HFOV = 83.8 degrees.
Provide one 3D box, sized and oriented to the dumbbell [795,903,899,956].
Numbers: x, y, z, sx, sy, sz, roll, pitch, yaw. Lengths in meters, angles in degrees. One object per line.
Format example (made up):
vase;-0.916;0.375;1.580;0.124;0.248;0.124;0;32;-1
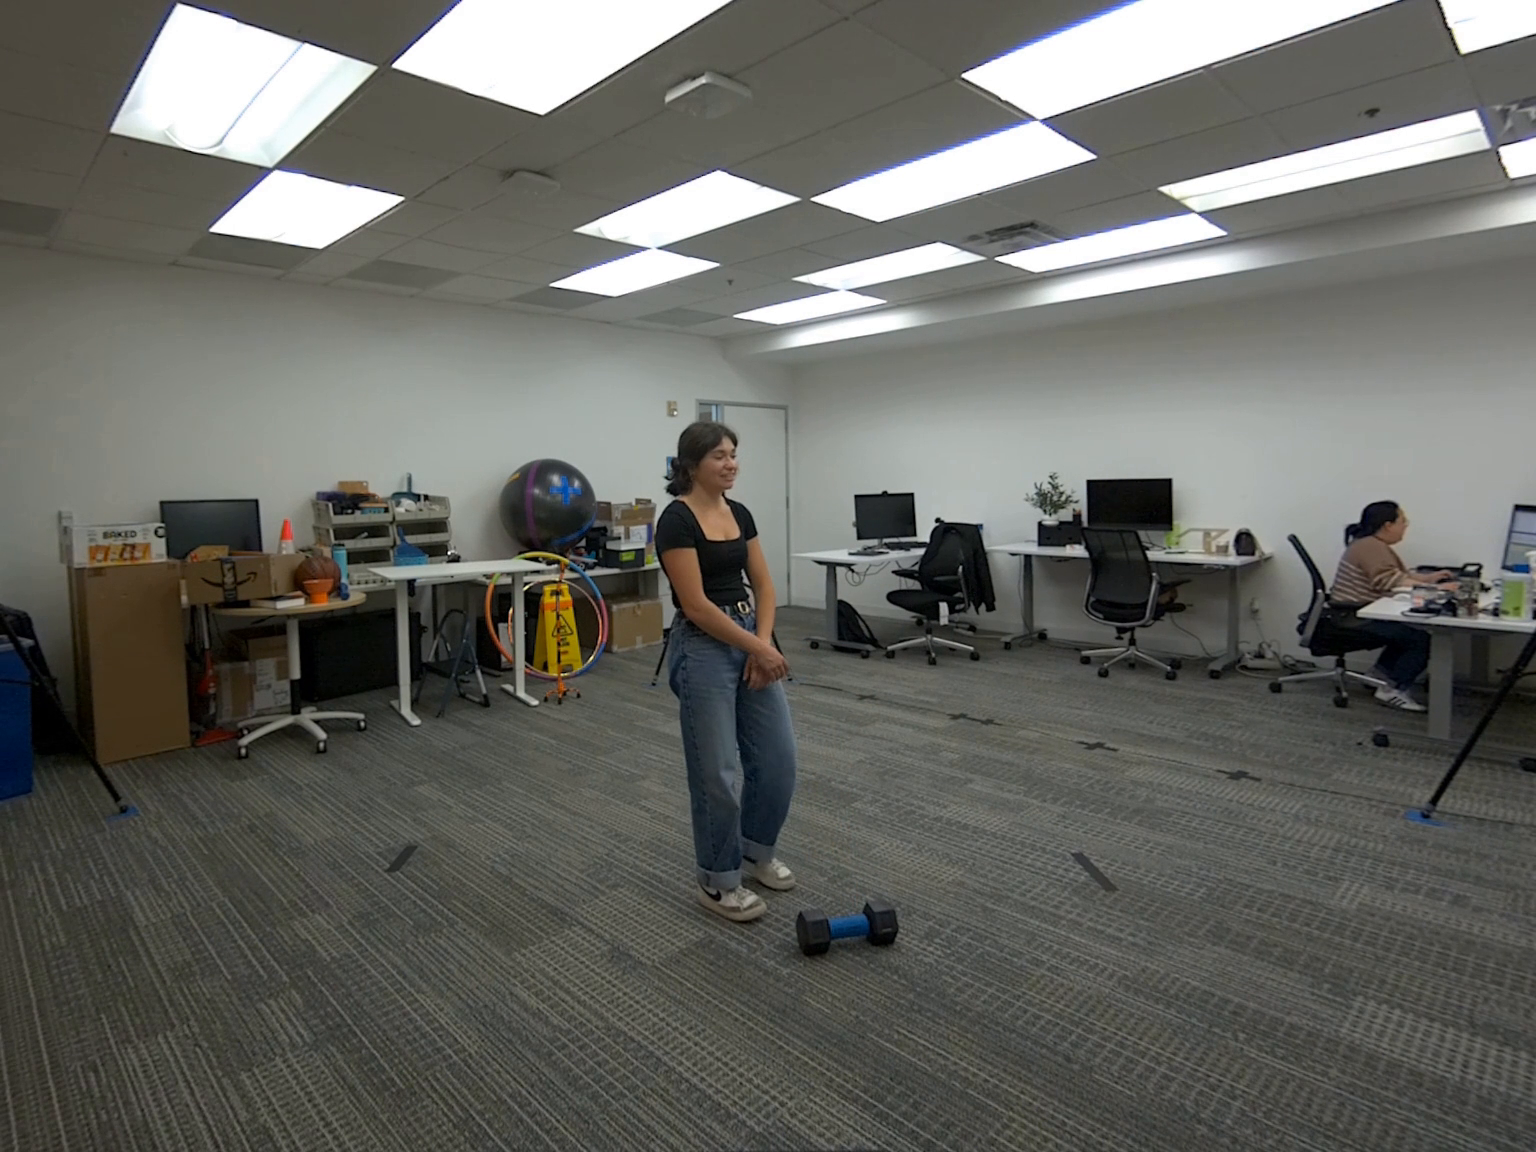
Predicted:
dumbbell;0.244;1.051;2.550;0.290;0.120;0.112;-2;35;-12
